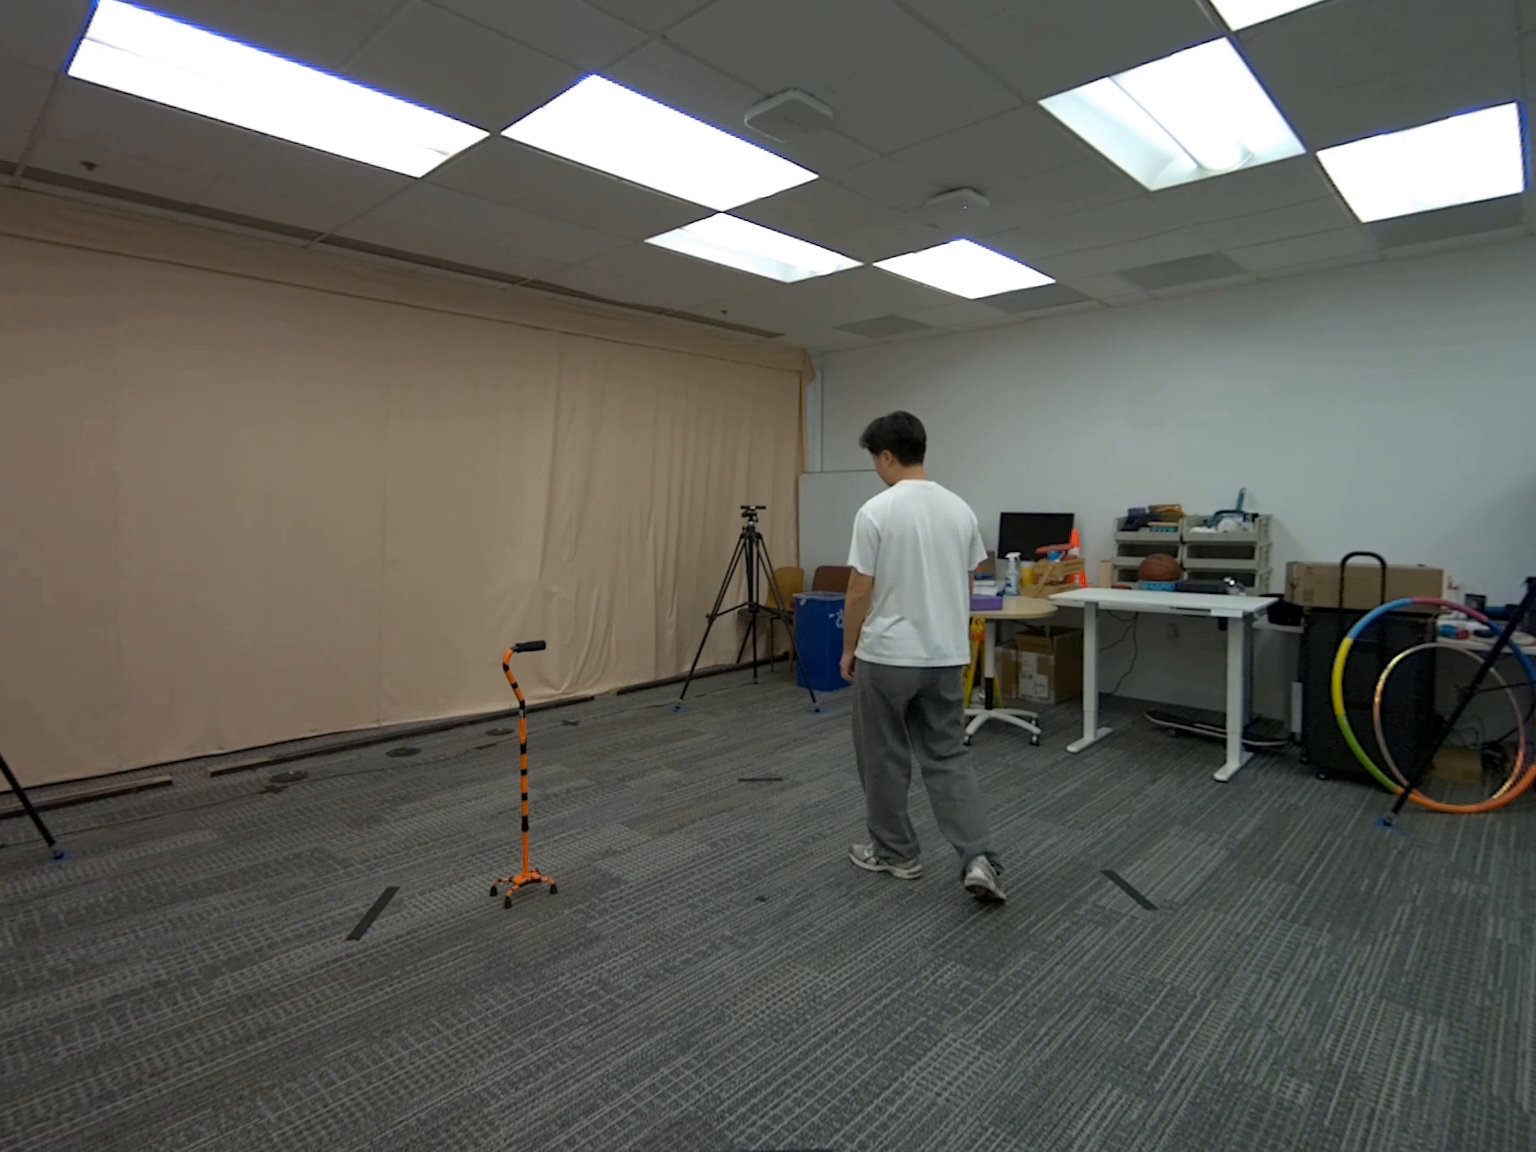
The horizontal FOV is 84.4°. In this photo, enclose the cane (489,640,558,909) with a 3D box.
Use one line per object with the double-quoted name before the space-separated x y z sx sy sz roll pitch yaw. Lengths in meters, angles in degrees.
"cane" -0.888 0.701 3.027 0.200 0.907 0.156 -2 2 -38
